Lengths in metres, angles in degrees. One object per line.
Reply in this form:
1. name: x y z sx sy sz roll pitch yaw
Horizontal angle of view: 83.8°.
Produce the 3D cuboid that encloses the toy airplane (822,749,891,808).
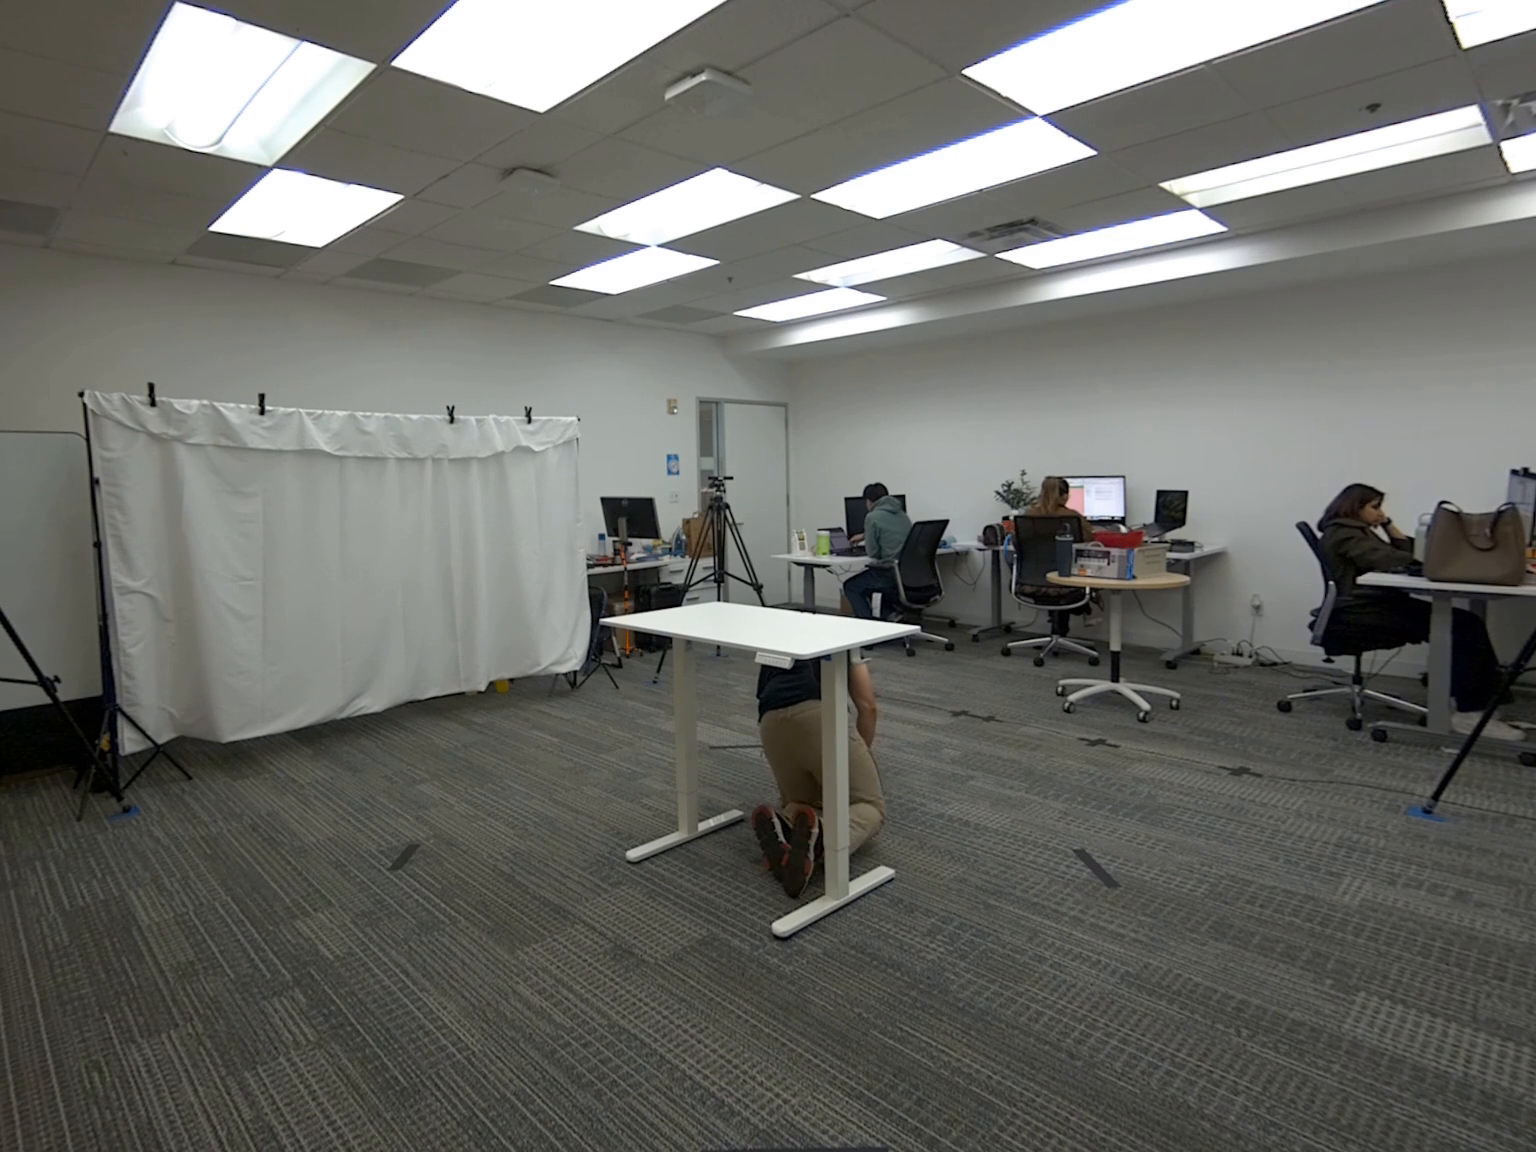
1. toy airplane: 0.362 0.883 3.744 0.266 0.156 0.245 0 5 31
